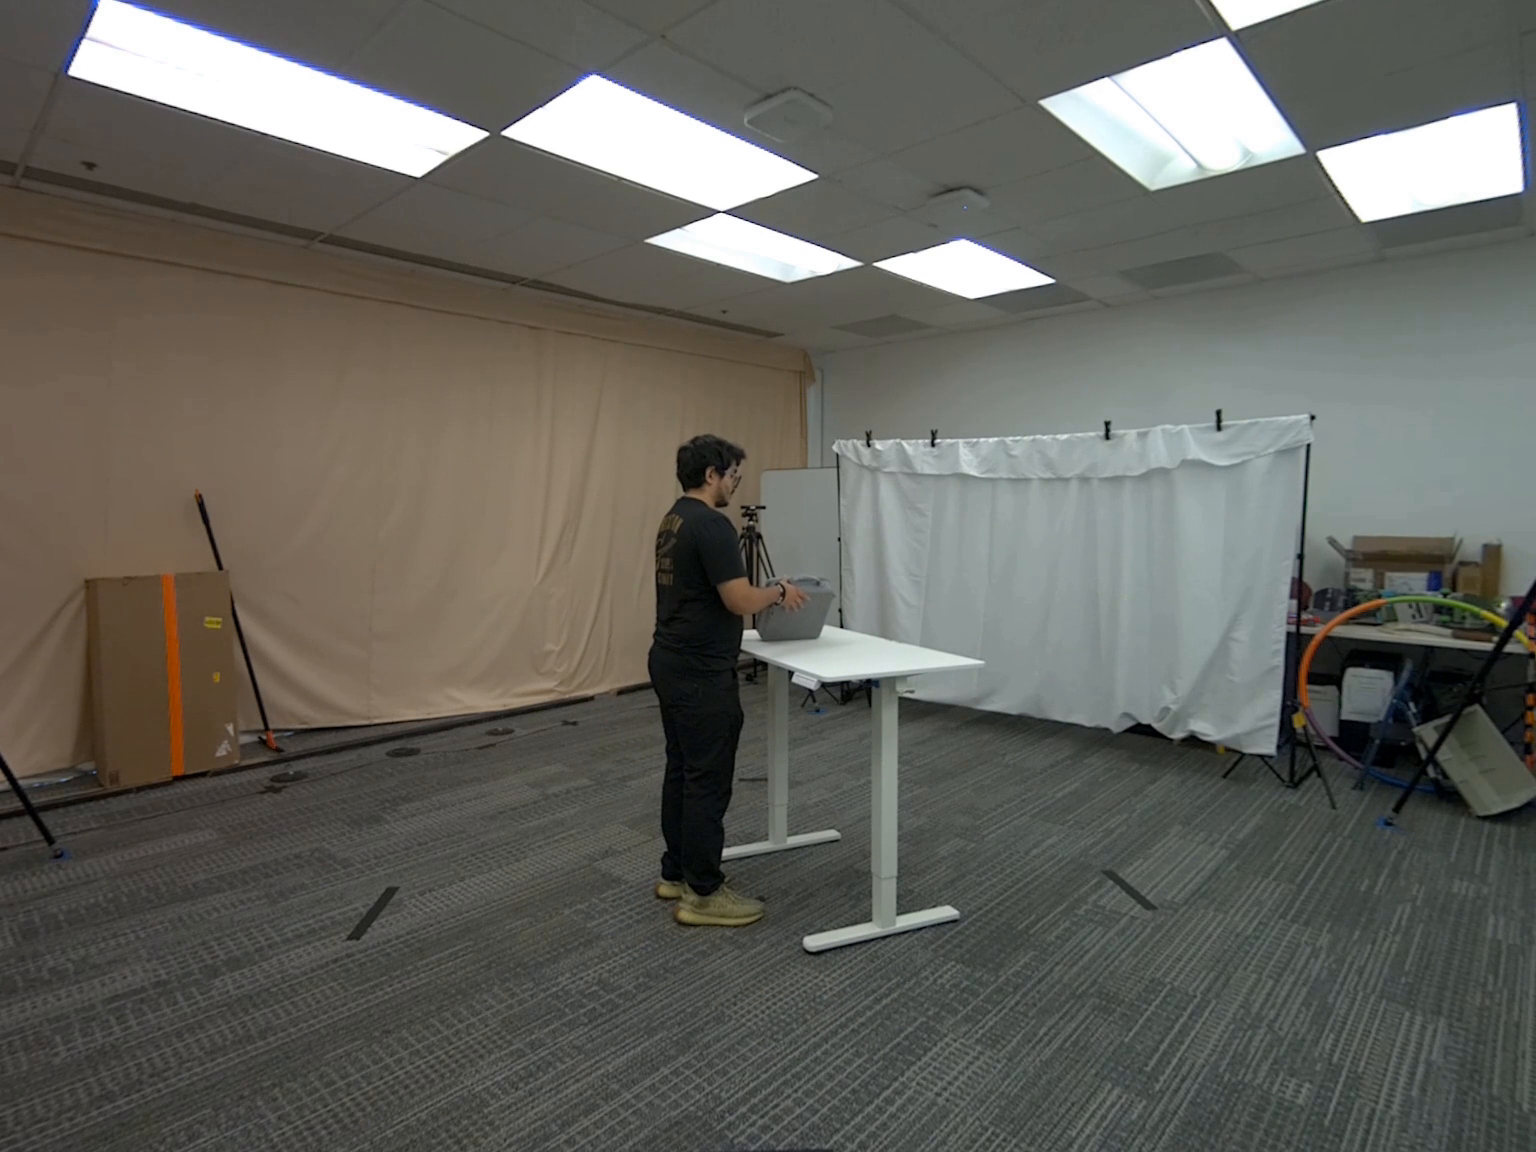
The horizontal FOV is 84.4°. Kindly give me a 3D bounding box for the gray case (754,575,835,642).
[{"bbox_3d":[0.096,0.125,3.163,0.252,0.258,0.107,2,28,-17],"label":"gray case"}]
